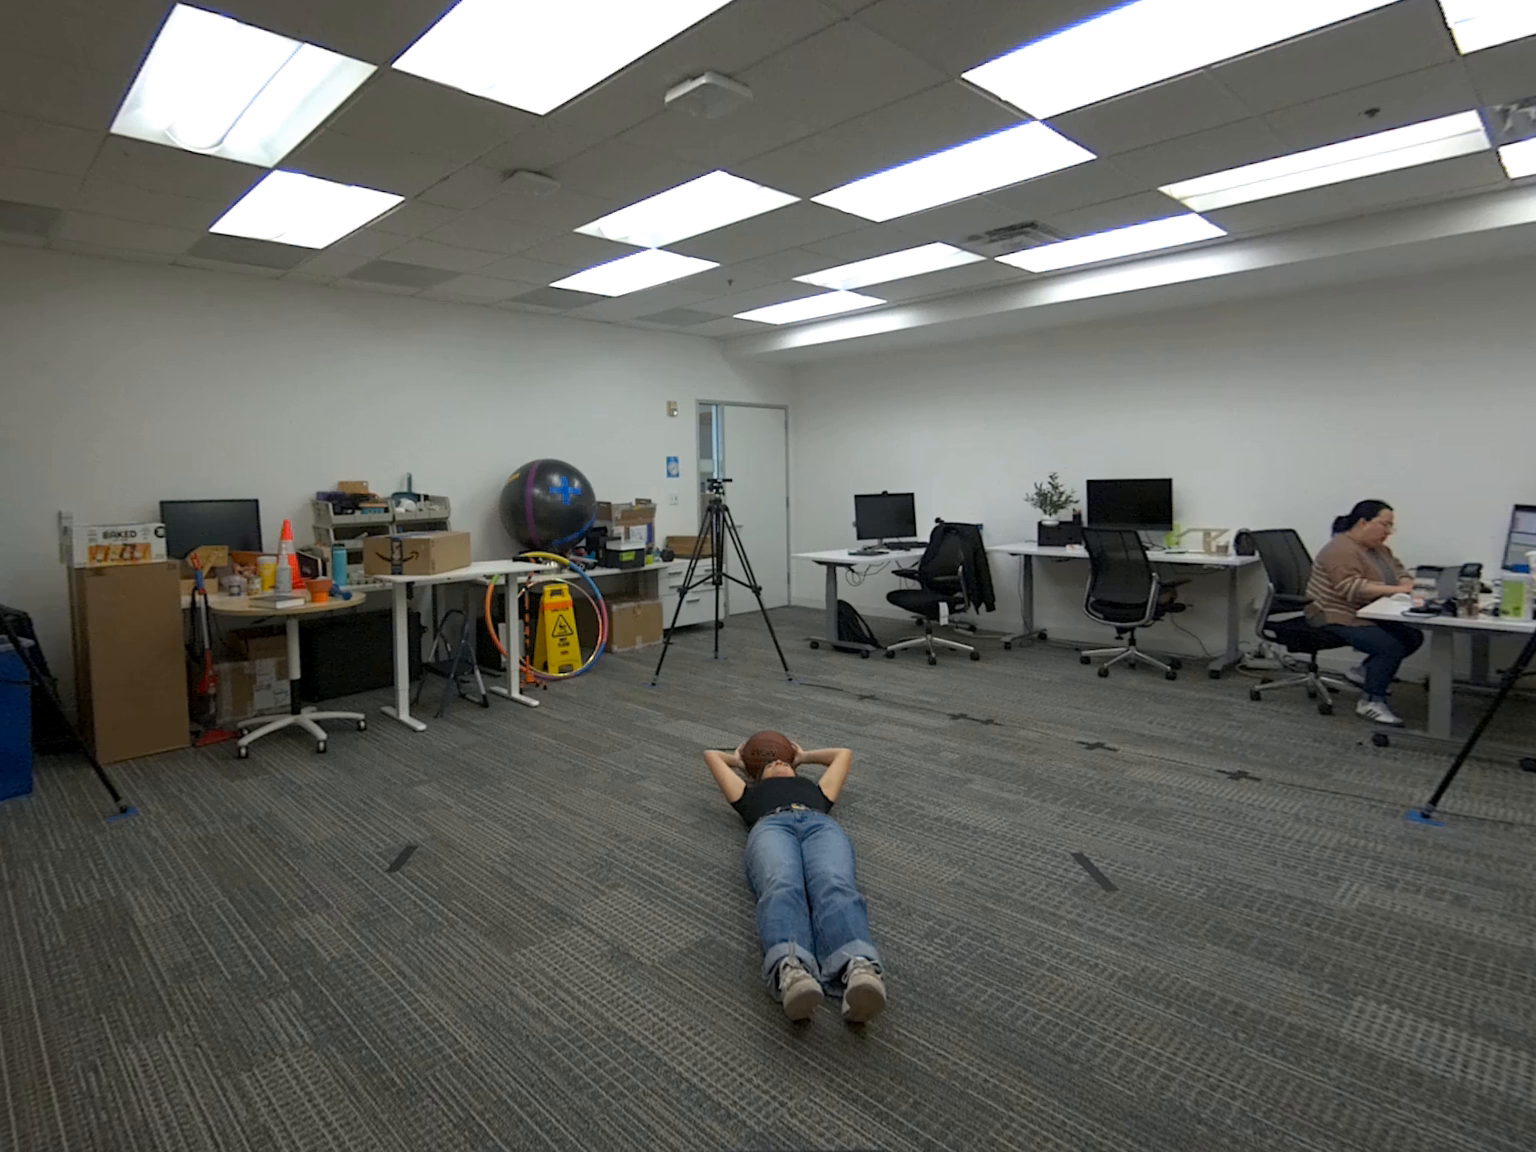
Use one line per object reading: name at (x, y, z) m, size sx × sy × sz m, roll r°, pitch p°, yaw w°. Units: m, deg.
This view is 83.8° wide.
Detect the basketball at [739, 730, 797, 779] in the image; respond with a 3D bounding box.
basketball at (0.003, 0.825, 3.933) m, size 0.236 × 0.235 × 0.237 m, roll -1°, pitch 5°, yaw -2°
